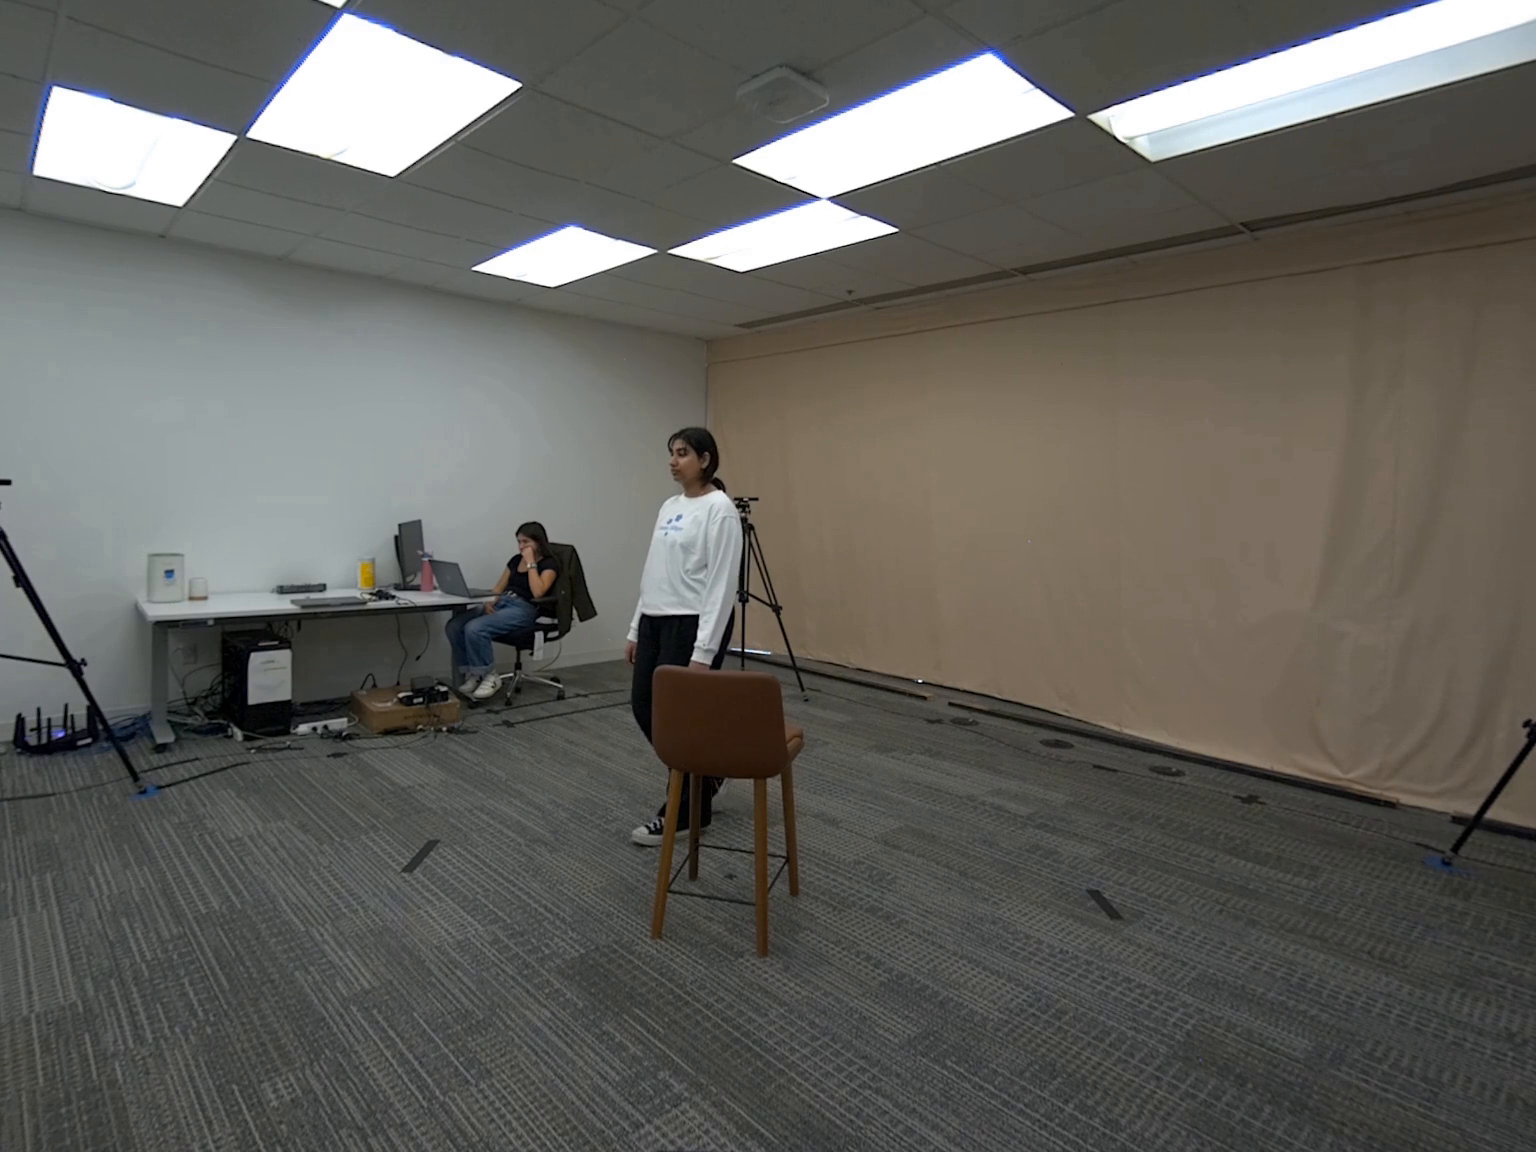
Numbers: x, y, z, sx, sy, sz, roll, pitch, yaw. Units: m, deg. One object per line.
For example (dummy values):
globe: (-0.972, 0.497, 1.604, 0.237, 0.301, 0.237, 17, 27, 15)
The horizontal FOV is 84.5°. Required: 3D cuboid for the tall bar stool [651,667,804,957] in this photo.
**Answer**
tall bar stool: (-0.133, 0.704, 2.787, 0.462, 0.886, 0.463, 2, 6, 15)
